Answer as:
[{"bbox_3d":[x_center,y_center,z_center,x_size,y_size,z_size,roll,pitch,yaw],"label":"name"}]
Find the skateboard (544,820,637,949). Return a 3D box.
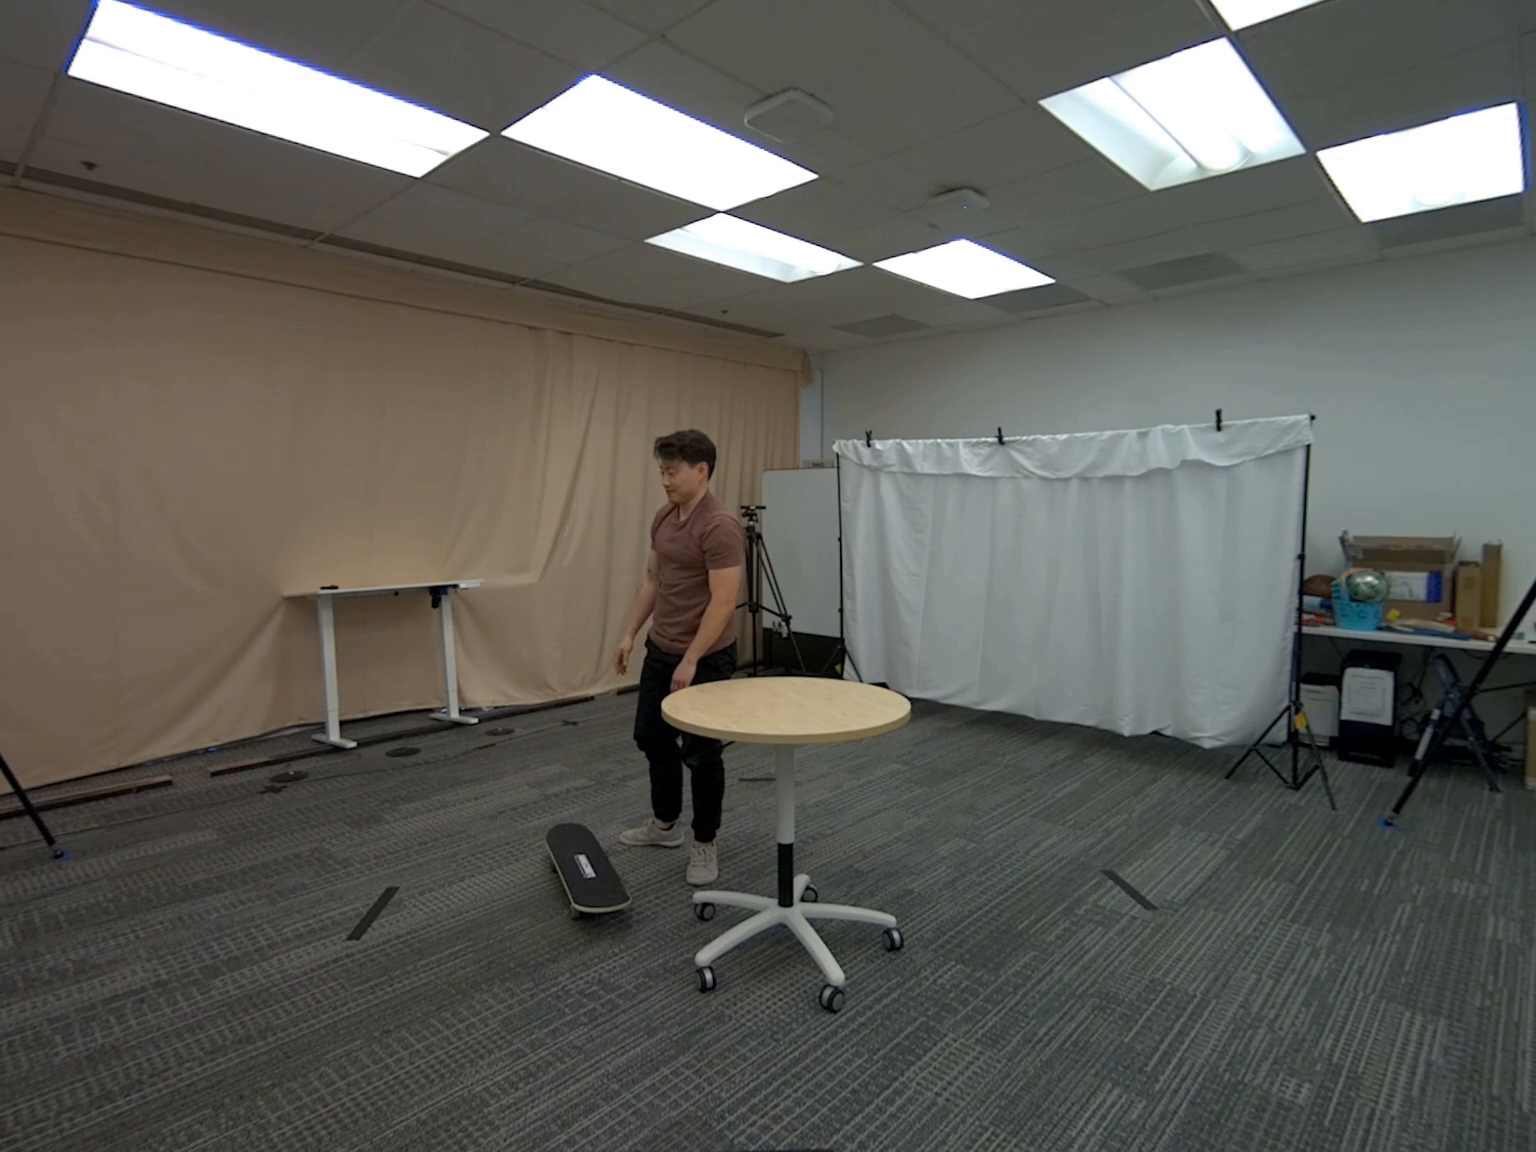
[{"bbox_3d":[-0.663,1.084,3.065,0.189,0.110,0.803,-2,5,-22],"label":"skateboard"}]
